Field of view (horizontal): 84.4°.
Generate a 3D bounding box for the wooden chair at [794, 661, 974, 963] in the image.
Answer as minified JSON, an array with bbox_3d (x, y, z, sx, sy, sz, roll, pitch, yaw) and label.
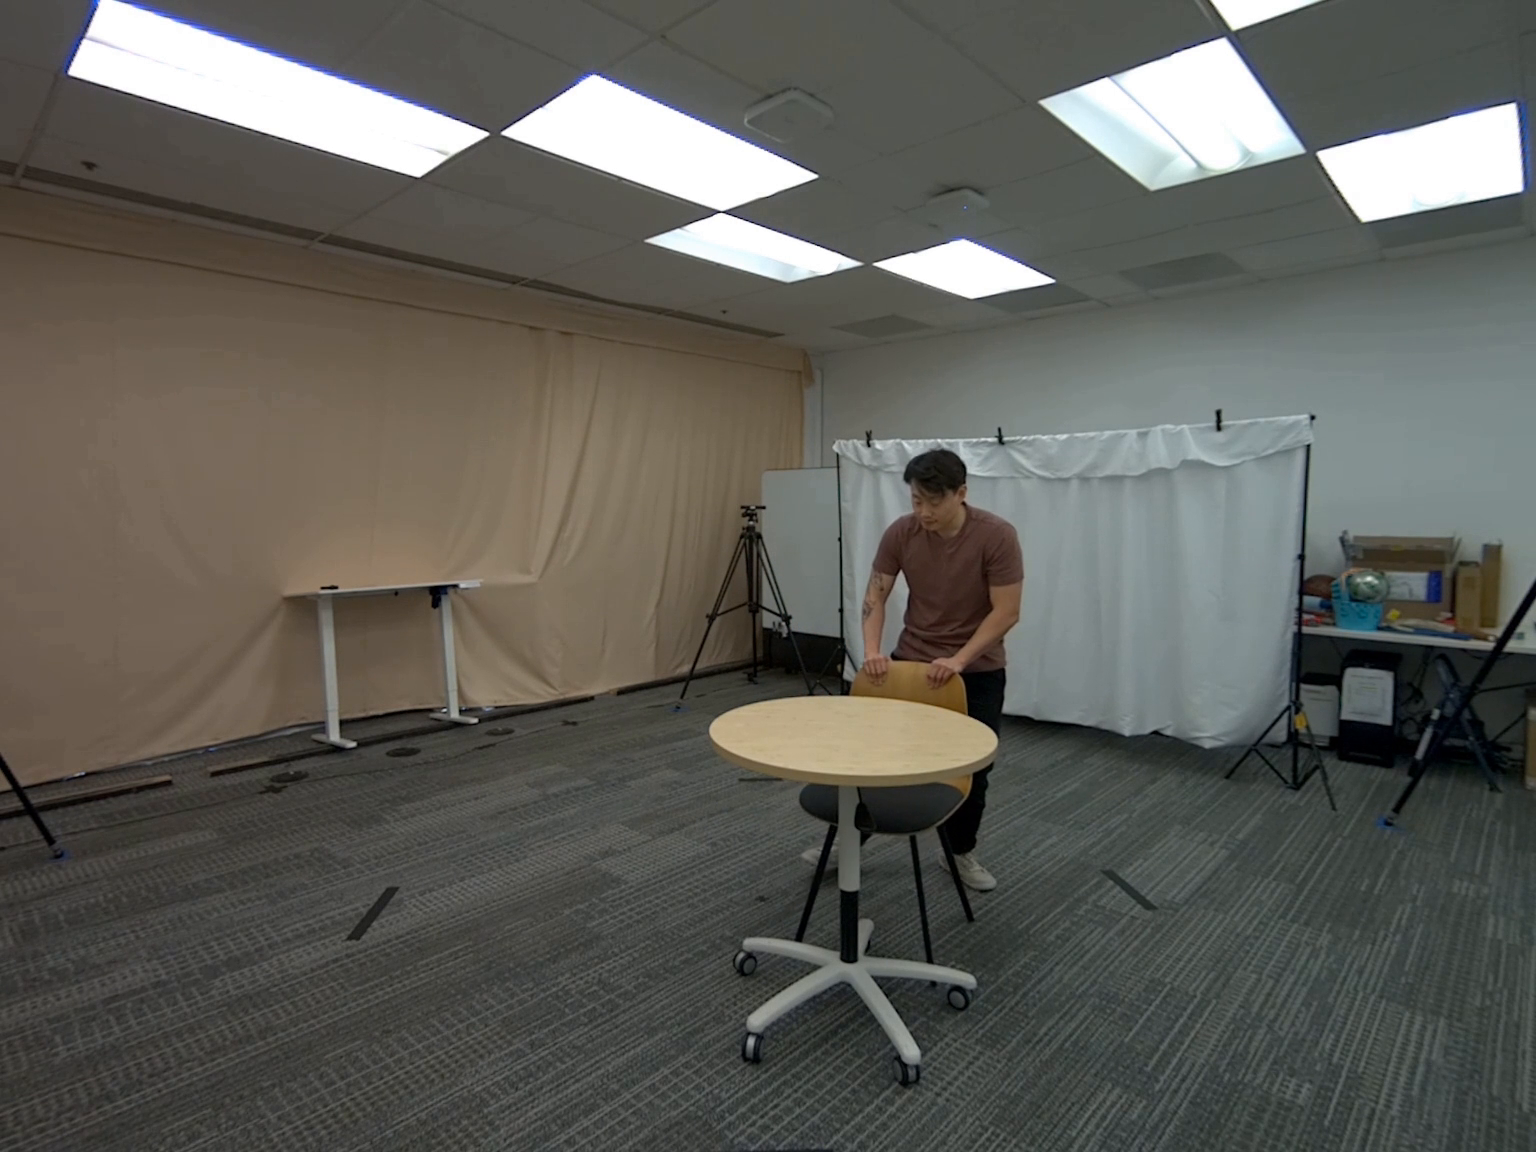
[{"bbox_3d":[0.386,0.742,2.698,0.492,0.877,0.508,2,0,29],"label":"wooden chair"}]
